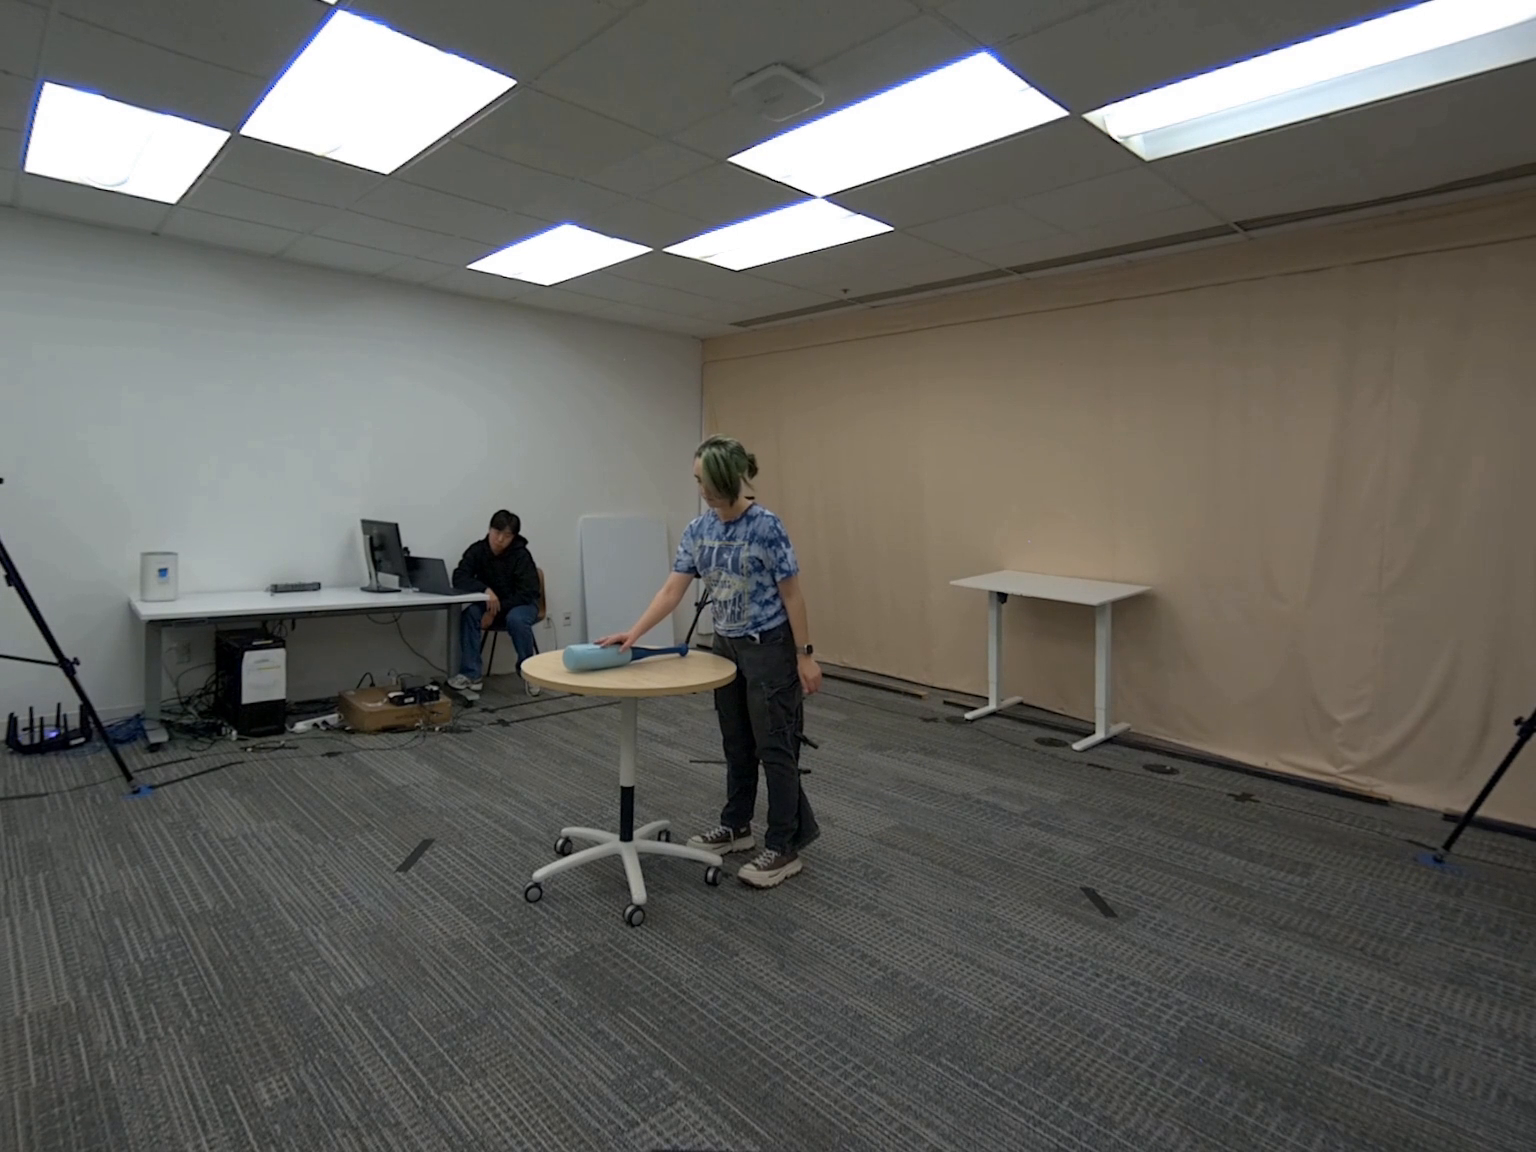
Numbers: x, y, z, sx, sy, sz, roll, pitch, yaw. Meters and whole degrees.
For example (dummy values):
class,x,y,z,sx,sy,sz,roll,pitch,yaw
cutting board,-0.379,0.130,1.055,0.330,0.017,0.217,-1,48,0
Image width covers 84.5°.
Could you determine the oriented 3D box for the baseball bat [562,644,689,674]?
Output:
class,x,y,z,sx,sy,sz,roll,pitch,yaw
baseball bat,-0.506,0.285,3.032,0.091,0.089,0.530,5,3,41
